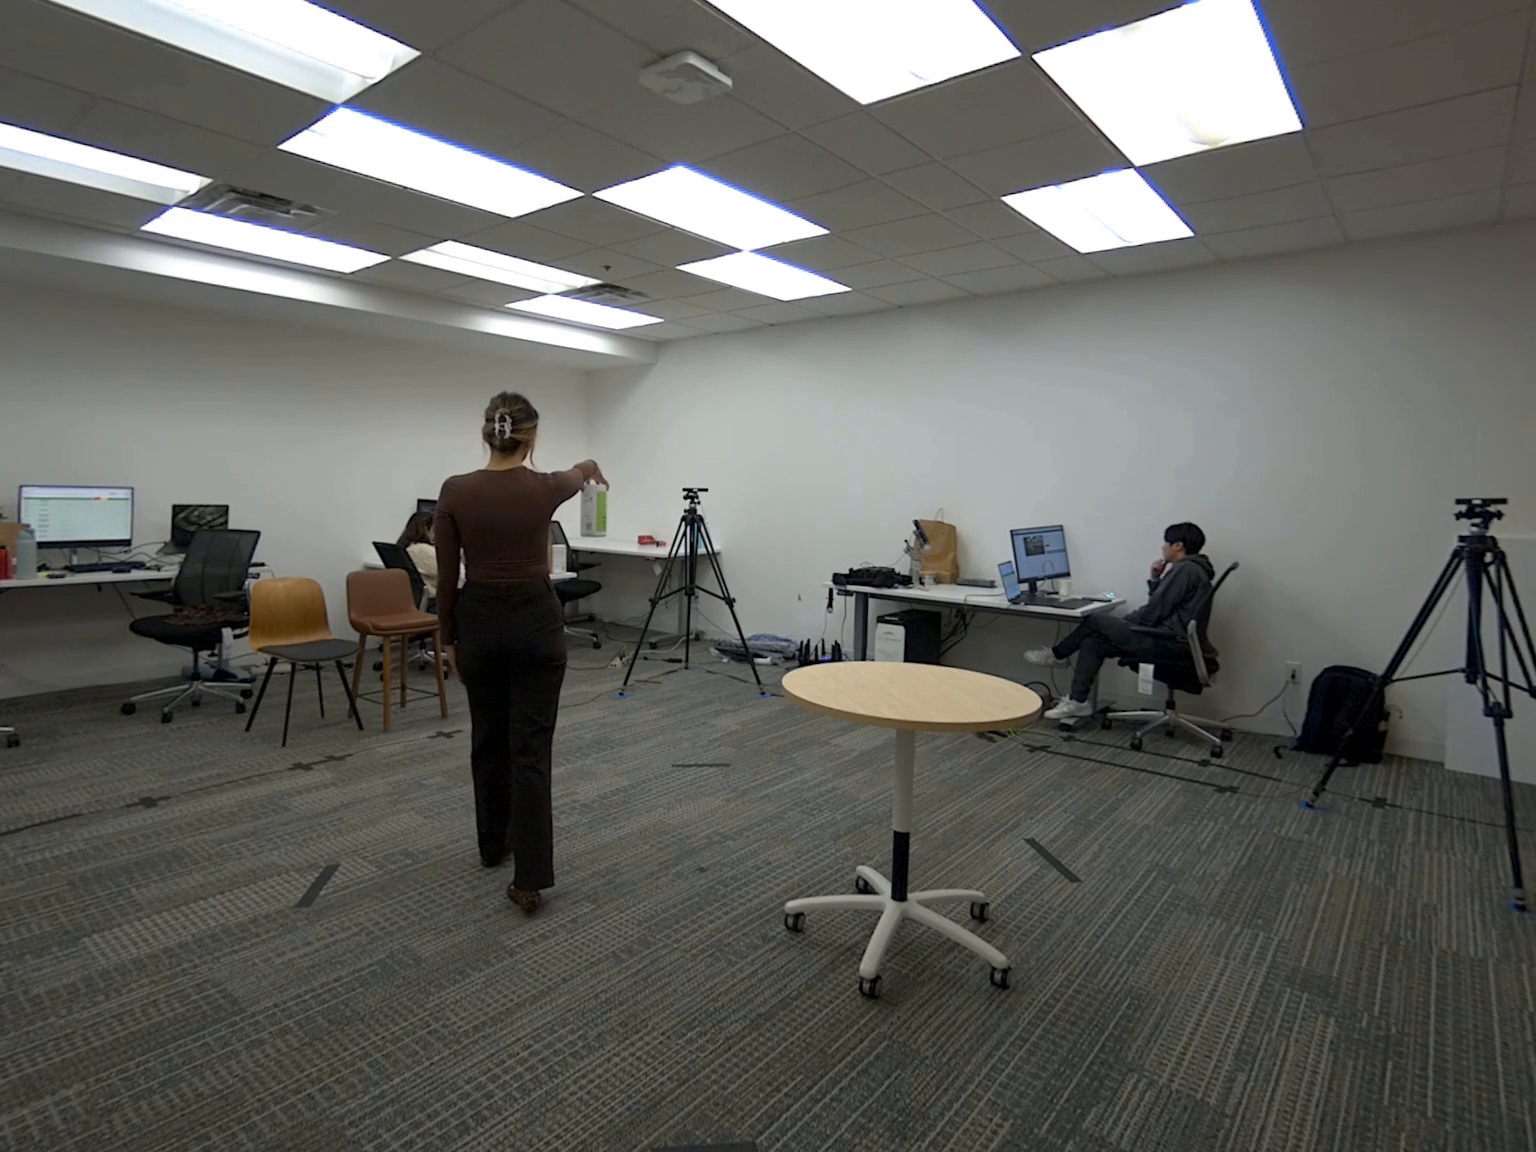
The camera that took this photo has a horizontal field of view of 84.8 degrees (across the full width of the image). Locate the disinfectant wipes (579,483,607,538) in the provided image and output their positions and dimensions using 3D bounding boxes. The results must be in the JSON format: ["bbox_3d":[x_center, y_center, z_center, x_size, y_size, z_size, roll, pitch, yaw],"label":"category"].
[{"bbox_3d":[-0.738,-0.277,3.526,0.118,0.217,0.118,1,2,-2],"label":"disinfectant wipes"}]
